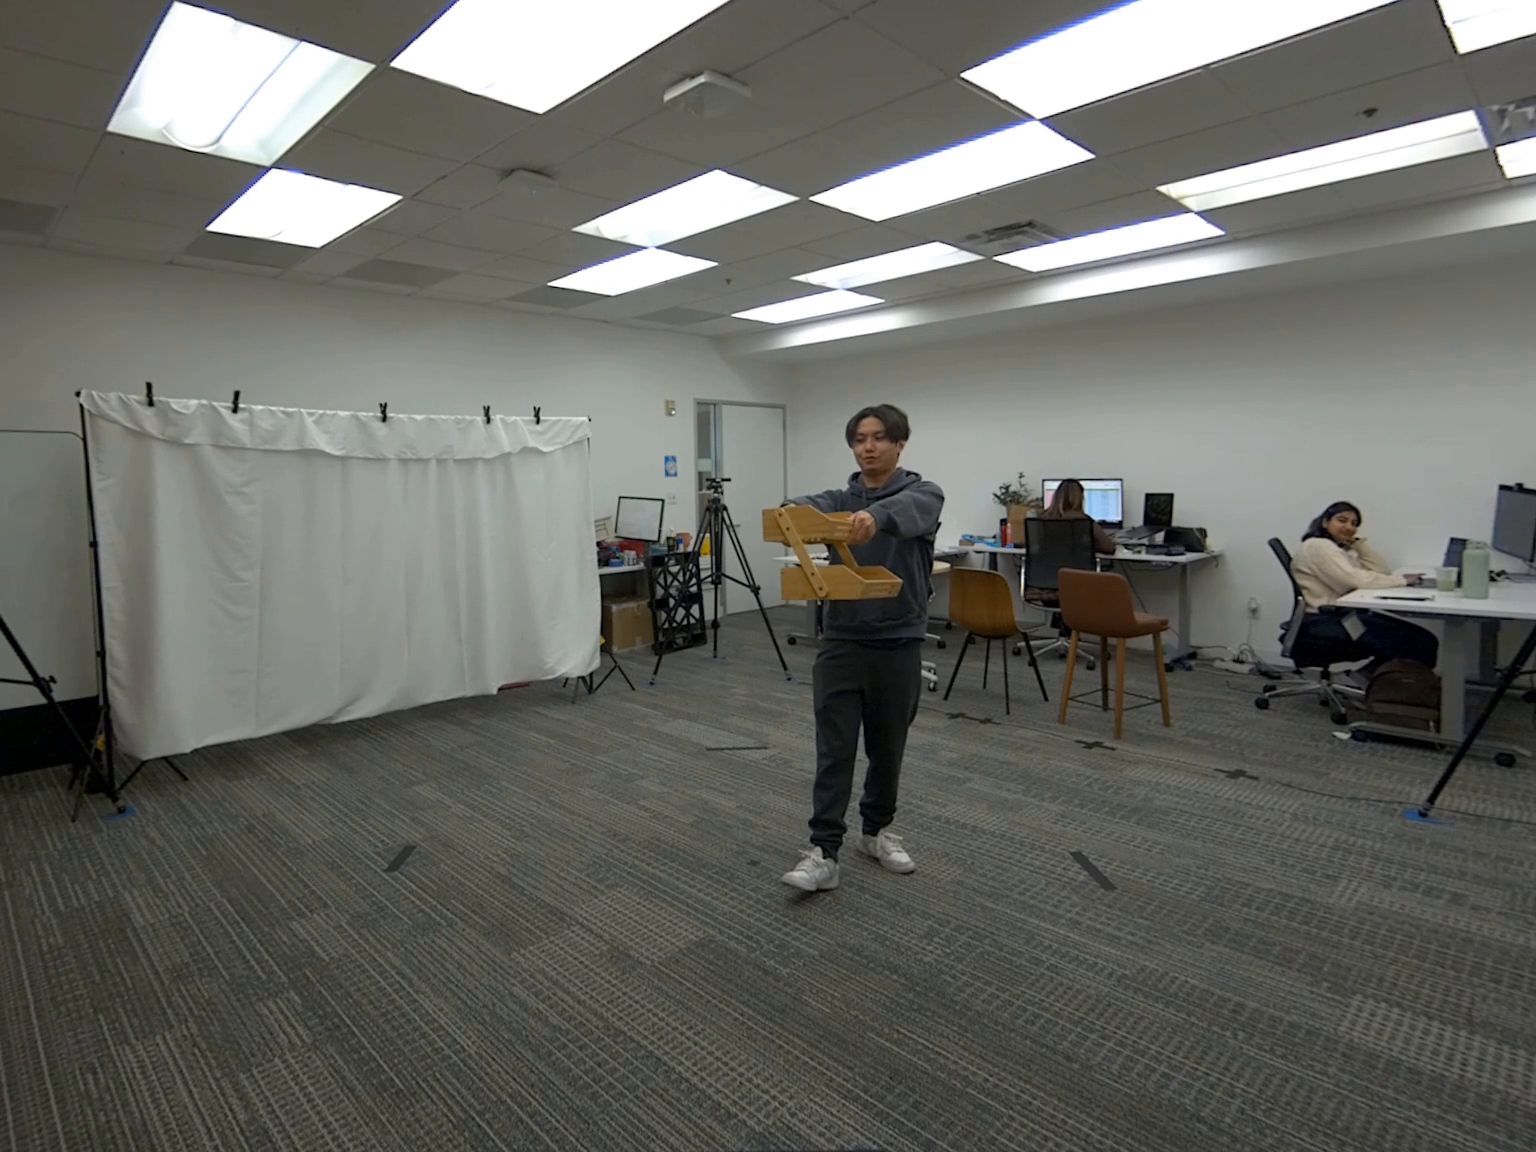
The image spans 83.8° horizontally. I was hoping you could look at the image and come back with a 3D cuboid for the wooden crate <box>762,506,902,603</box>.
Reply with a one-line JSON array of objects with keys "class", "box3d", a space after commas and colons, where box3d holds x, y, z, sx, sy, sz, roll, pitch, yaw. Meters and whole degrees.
[{"class": "wooden crate", "box3d": [0.183, -0.066, 2.463, 0.309, 0.274, 0.316, -4, -3, 30]}]
